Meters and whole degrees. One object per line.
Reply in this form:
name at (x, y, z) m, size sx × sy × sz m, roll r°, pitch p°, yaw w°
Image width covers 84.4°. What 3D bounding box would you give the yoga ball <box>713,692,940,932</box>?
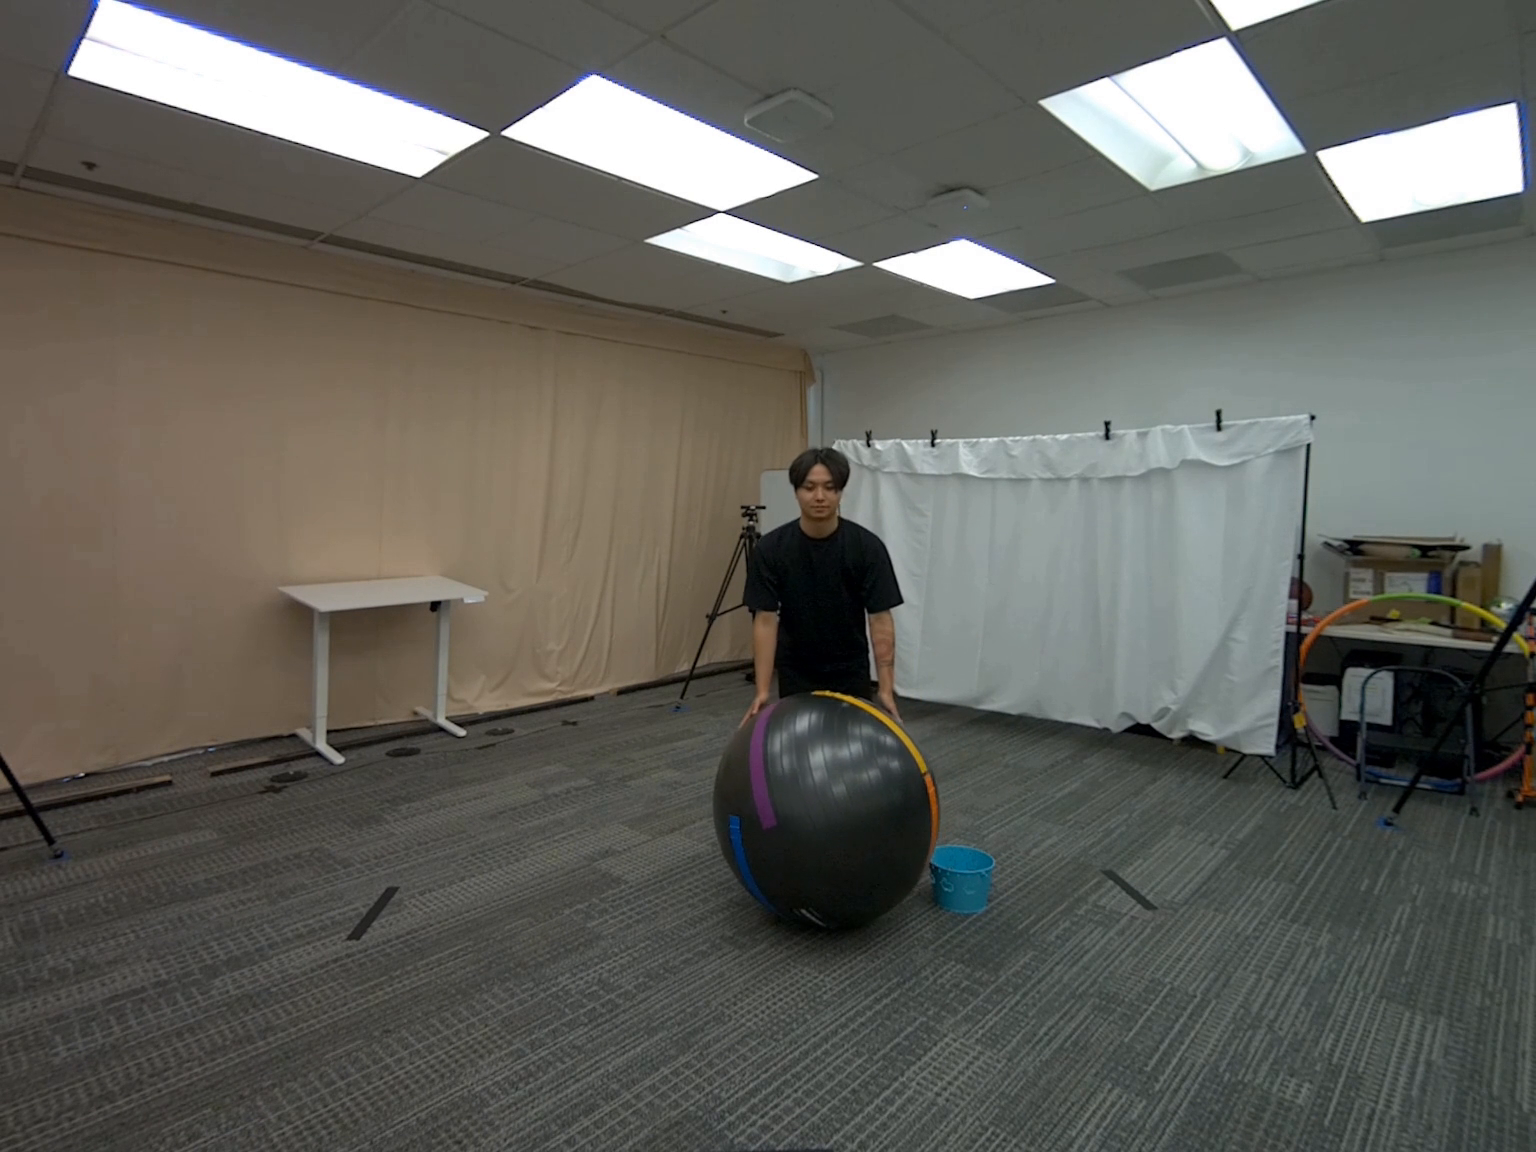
yoga ball at (0.194, 0.786, 2.849) m, size 0.757 × 0.756 × 0.760 m, roll 0°, pitch 4°, yaw -2°
